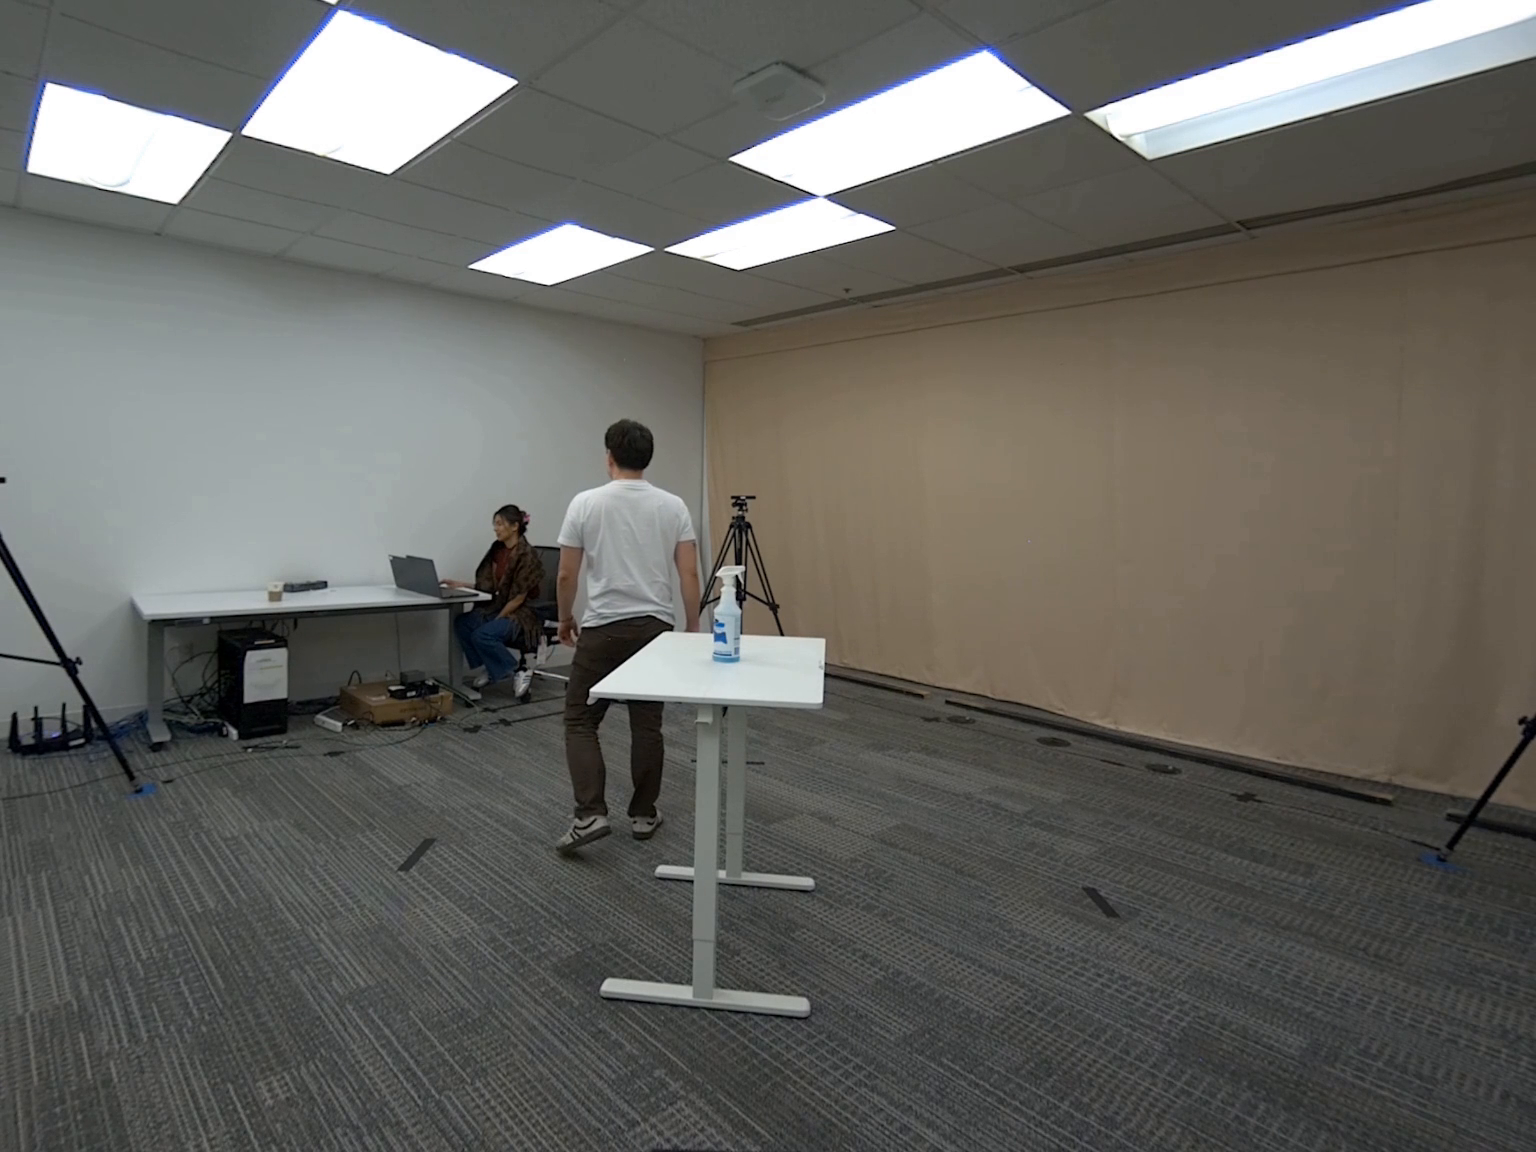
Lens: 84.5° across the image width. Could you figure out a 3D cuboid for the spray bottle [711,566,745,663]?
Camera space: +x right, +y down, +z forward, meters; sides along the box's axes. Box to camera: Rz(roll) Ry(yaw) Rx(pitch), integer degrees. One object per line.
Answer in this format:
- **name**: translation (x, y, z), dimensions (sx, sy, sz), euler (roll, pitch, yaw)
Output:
- **spray bottle**: translation (-0.127, 0.118, 2.625), dimensions (0.091, 0.297, 0.086), euler (2, 3, 8)
